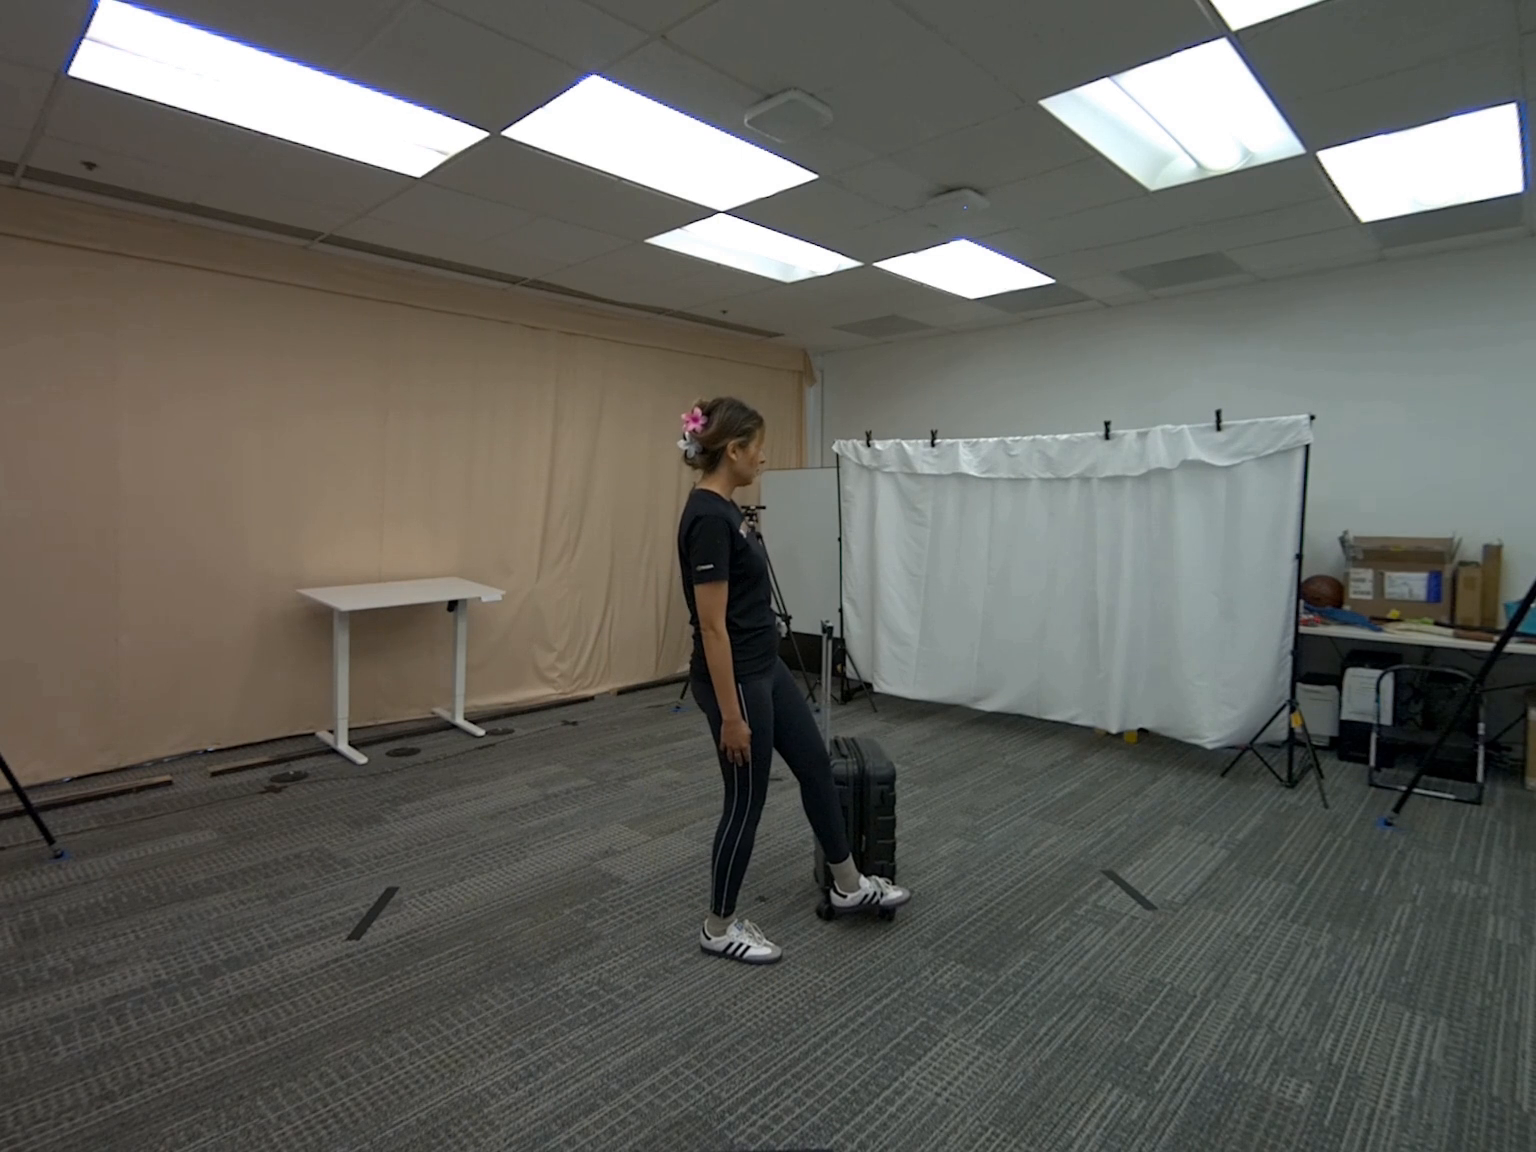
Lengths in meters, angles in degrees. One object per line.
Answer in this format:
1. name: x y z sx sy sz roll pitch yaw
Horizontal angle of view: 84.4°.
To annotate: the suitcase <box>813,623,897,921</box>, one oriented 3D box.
1. suitcase: 0.312 0.661 2.978 0.257 0.977 0.385 2 3 -3
